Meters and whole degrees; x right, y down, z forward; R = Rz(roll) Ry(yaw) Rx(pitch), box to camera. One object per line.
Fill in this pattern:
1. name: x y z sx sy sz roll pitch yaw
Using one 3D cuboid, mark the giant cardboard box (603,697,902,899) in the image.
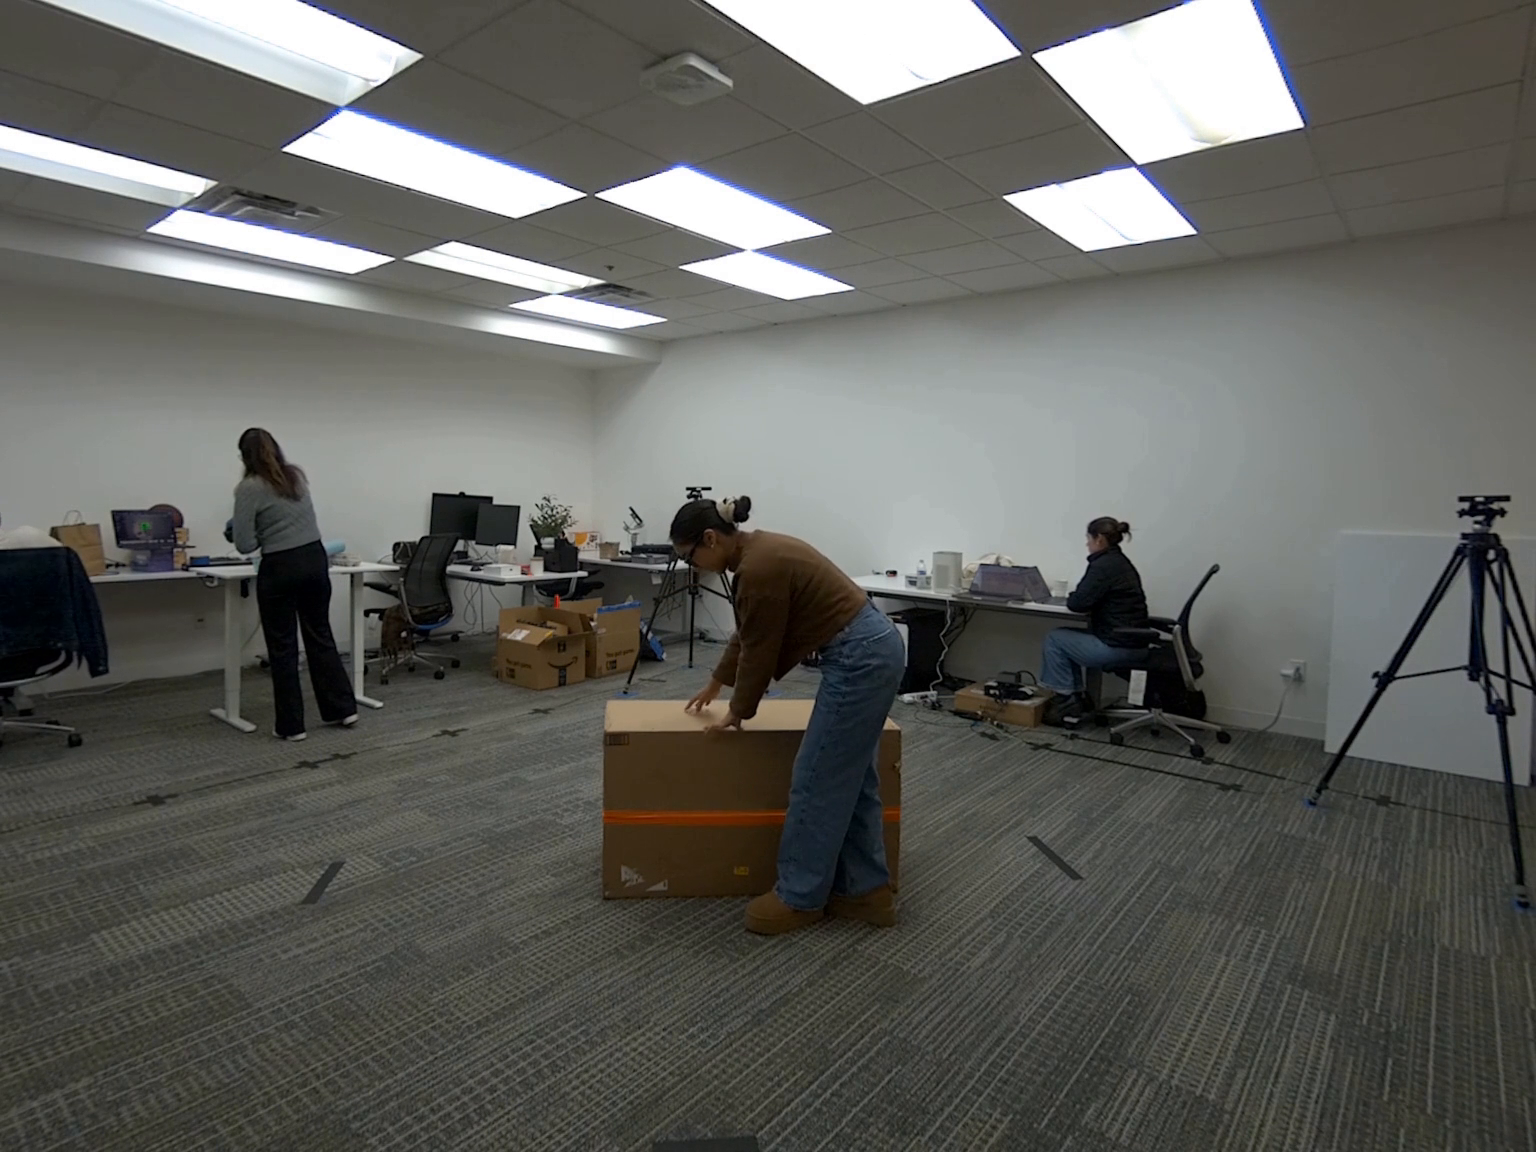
1. giant cardboard box: -0.088 0.782 3.096 1.021 0.583 0.450 0 3 -5
